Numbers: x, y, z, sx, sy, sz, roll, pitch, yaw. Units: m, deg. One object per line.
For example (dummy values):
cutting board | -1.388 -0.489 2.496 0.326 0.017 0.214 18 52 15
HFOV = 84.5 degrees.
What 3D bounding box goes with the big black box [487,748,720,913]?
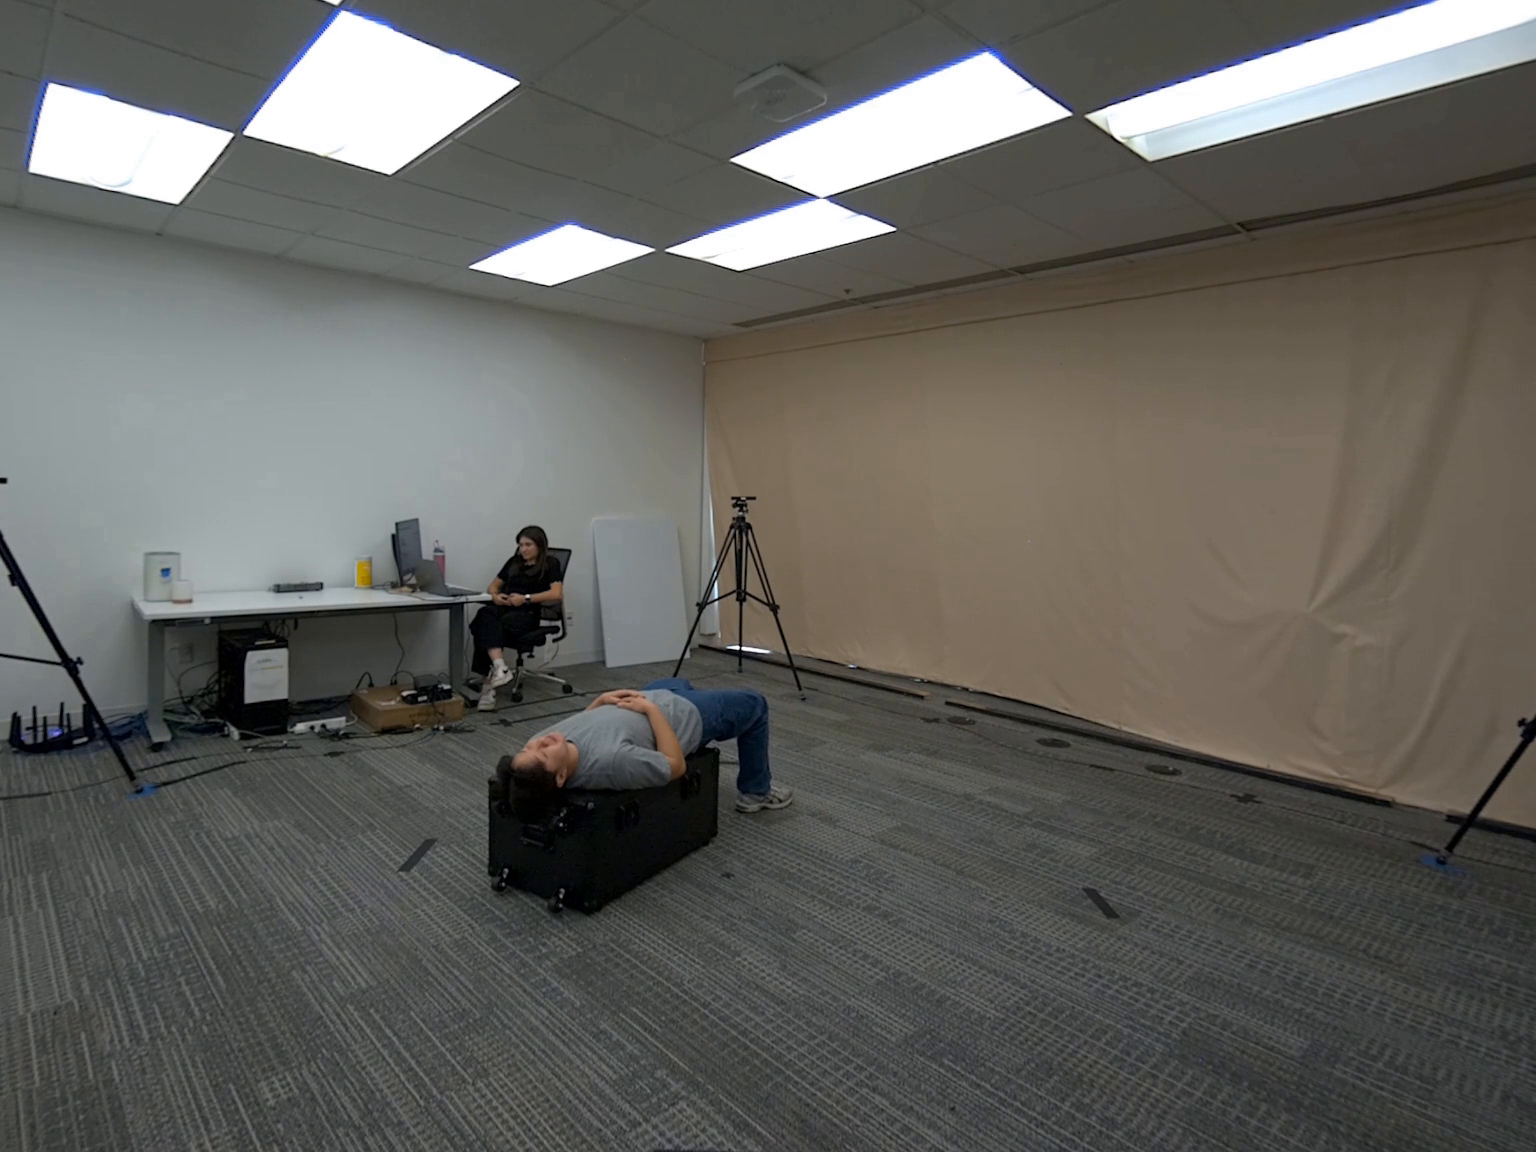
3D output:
big black box | -0.624 0.907 3.181 0.533 0.395 0.845 5 6 30
